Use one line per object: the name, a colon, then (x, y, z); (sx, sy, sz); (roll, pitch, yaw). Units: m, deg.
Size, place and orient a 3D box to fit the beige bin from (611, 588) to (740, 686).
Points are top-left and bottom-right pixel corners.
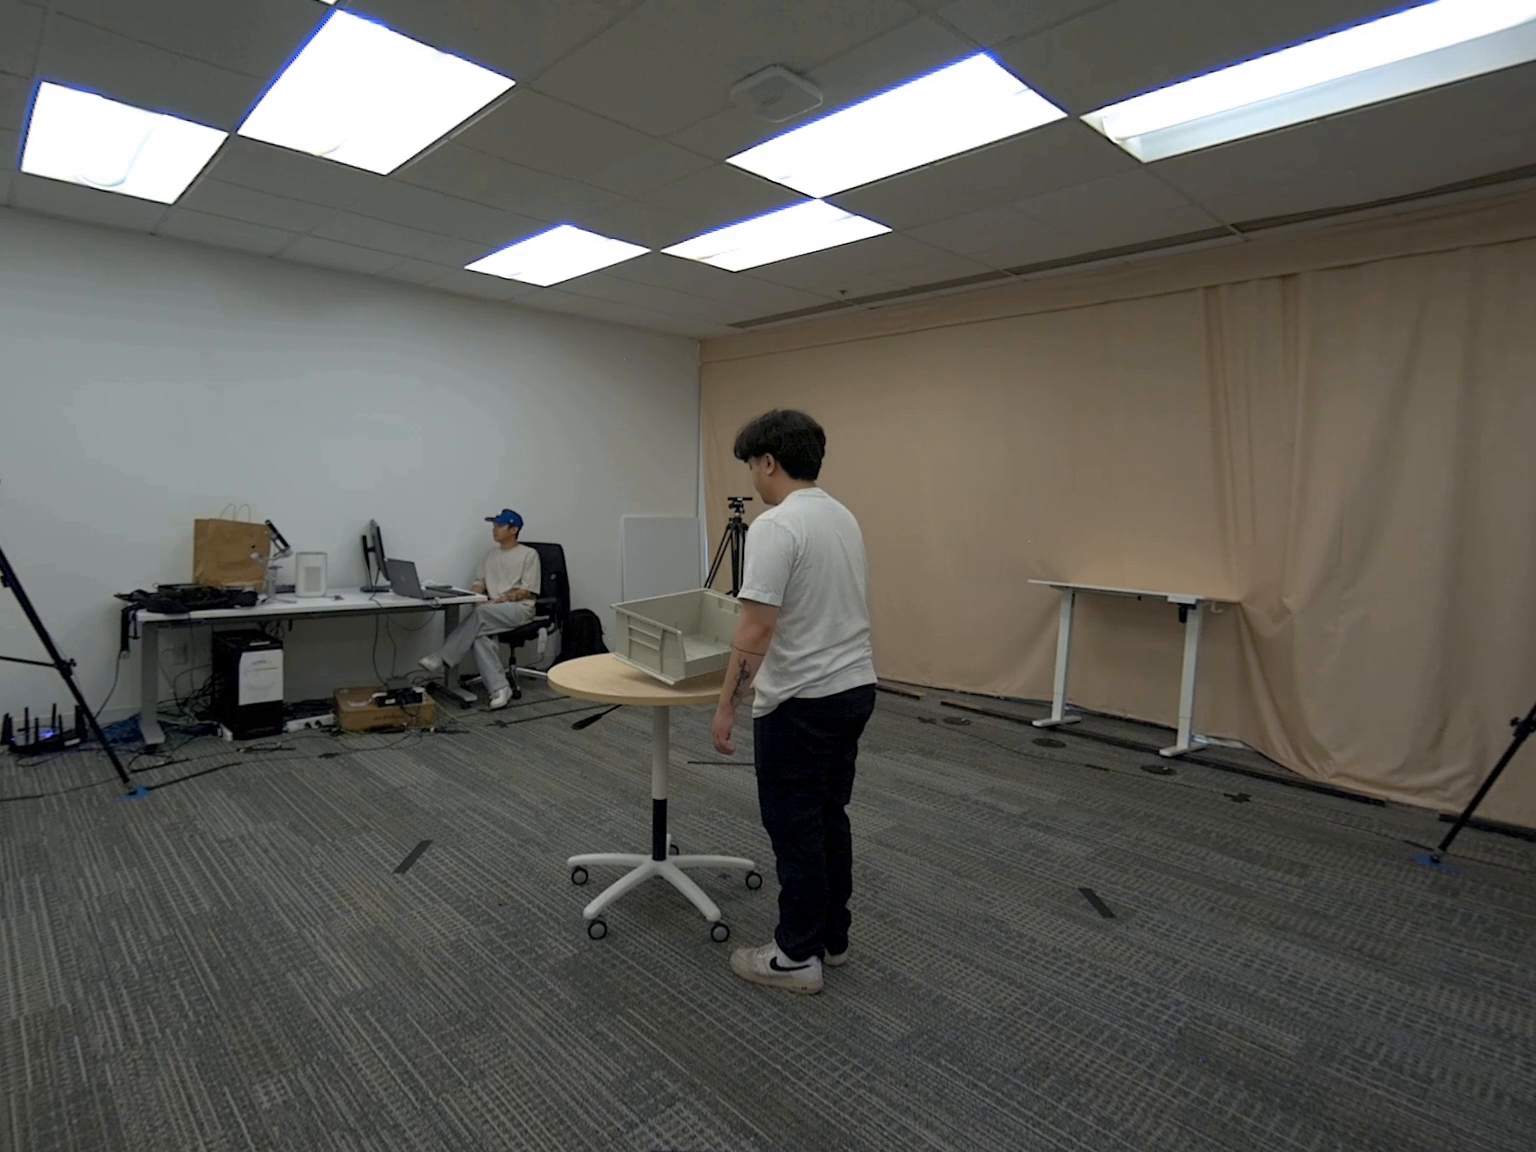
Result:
beige bin: (-0.242, 0.197, 2.785); (0.414, 0.187, 0.388); (-10, 18, -44)
